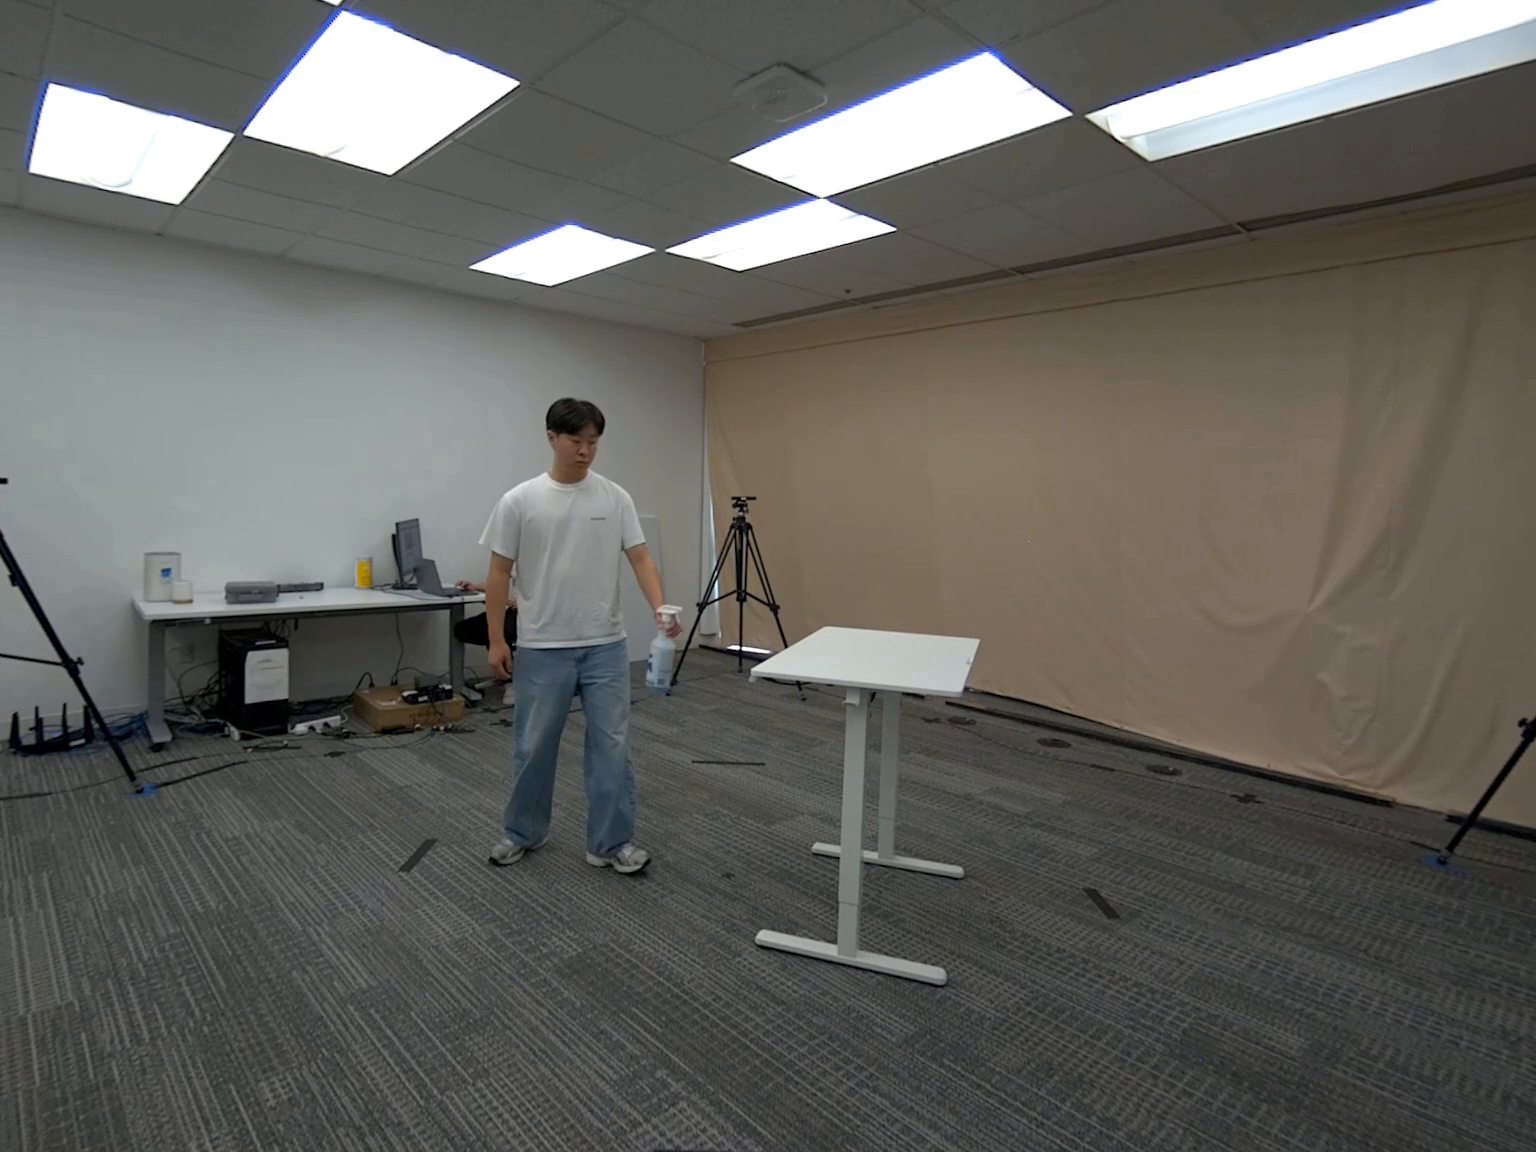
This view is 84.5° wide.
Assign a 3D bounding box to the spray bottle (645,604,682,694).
[{"bbox_3d":[-0.369,0.239,2.918,0.092,0.296,0.085,13,7,40],"label":"spray bottle"}]
